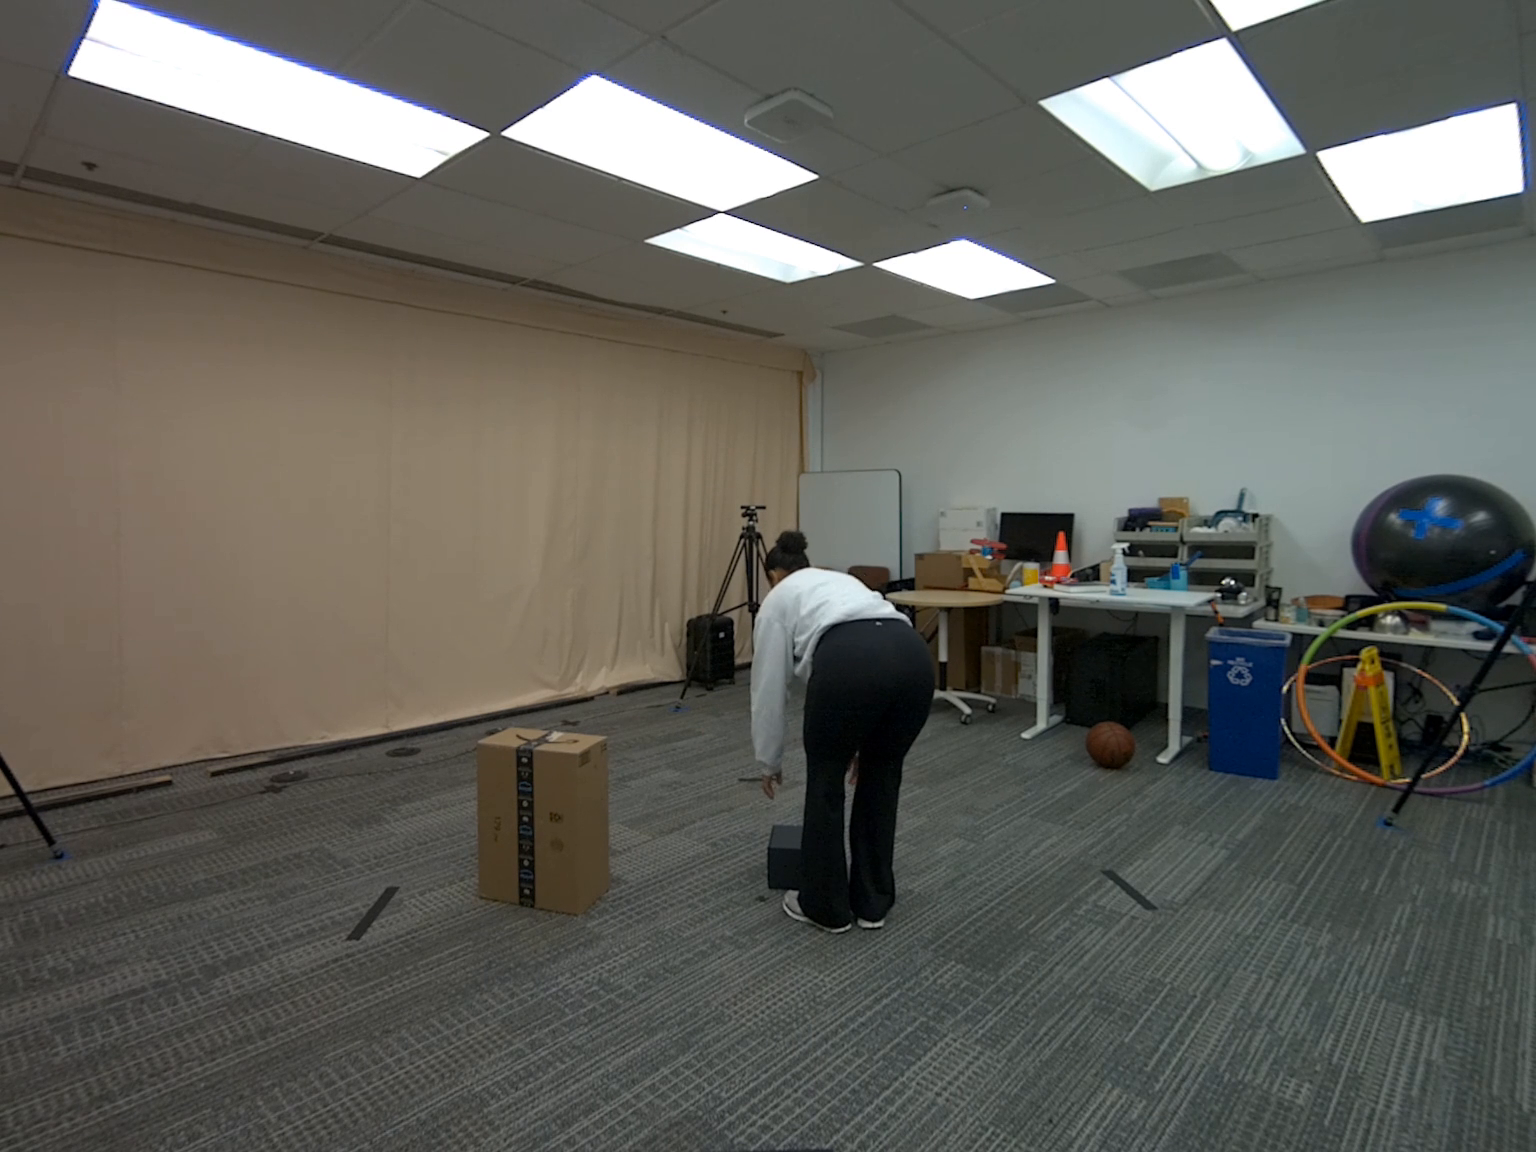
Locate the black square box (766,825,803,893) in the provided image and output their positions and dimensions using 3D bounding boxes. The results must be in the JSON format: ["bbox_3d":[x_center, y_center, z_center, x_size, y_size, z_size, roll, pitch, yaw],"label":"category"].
[{"bbox_3d":[0.127,1.043,3.131,0.230,0.155,0.216,1,5,7],"label":"black square box"}]
